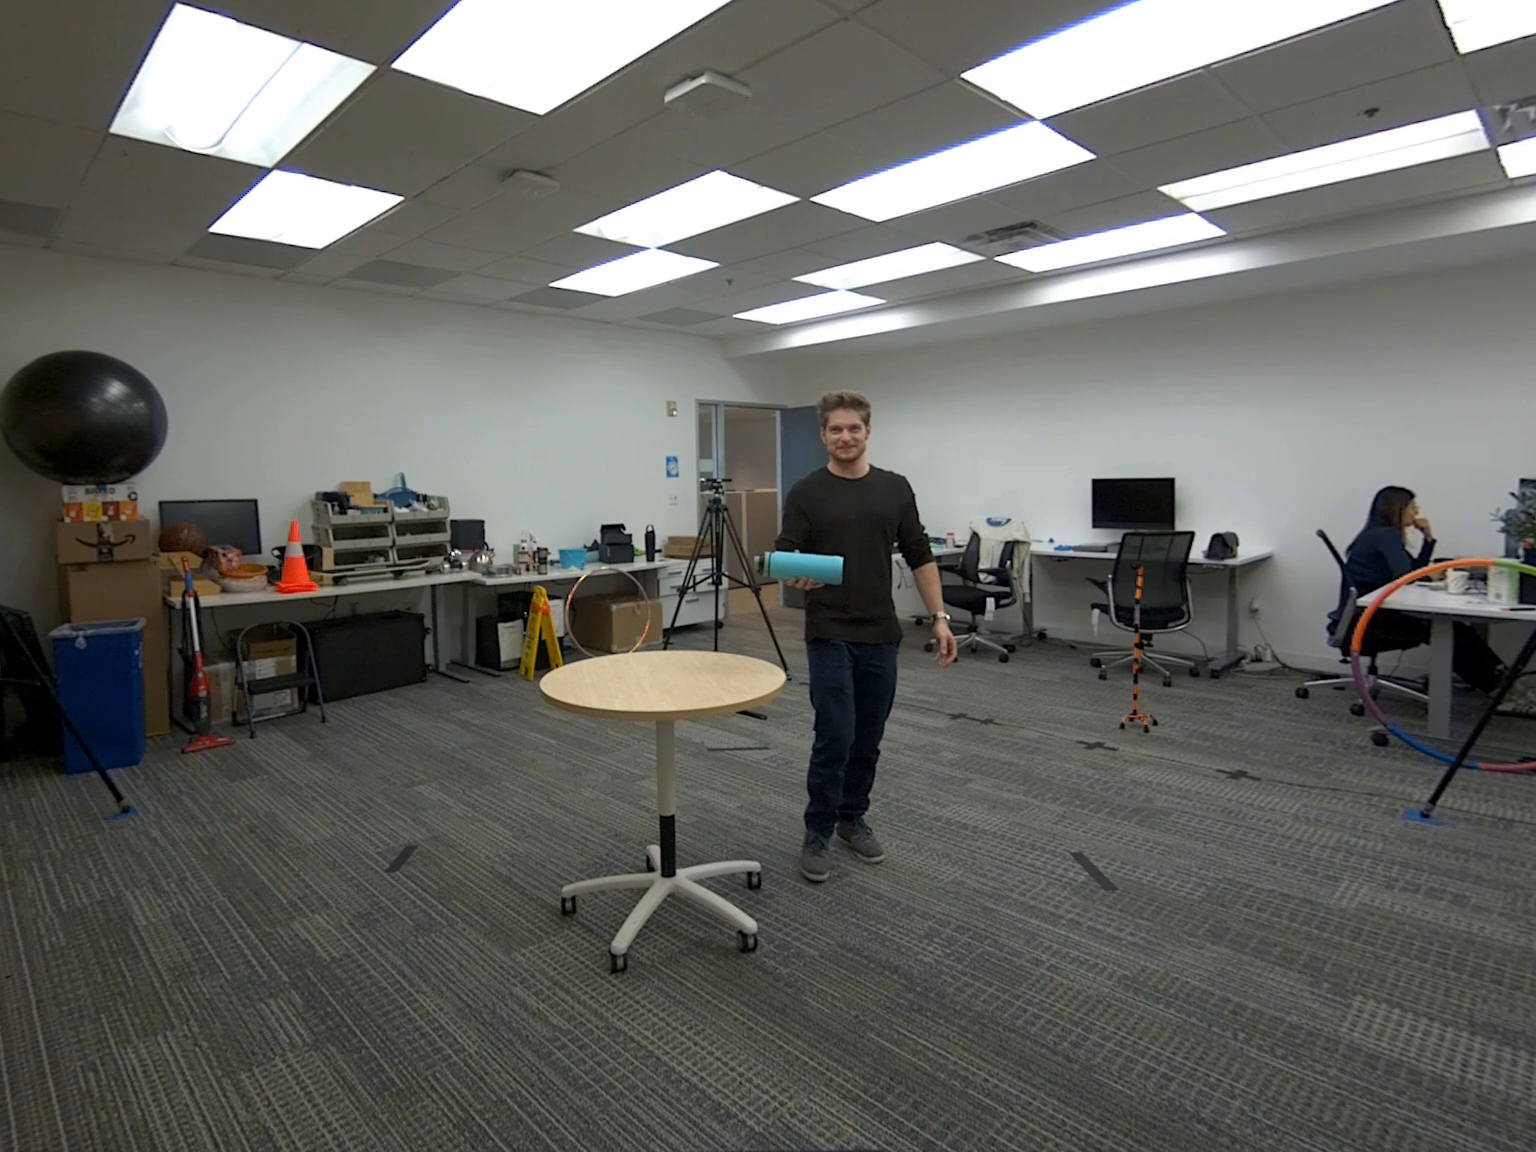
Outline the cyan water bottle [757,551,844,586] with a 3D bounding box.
[{"bbox_3d":[0.101,-0.032,2.756,0.284,0.092,0.092,2,5,4],"label":"cyan water bottle"}]
